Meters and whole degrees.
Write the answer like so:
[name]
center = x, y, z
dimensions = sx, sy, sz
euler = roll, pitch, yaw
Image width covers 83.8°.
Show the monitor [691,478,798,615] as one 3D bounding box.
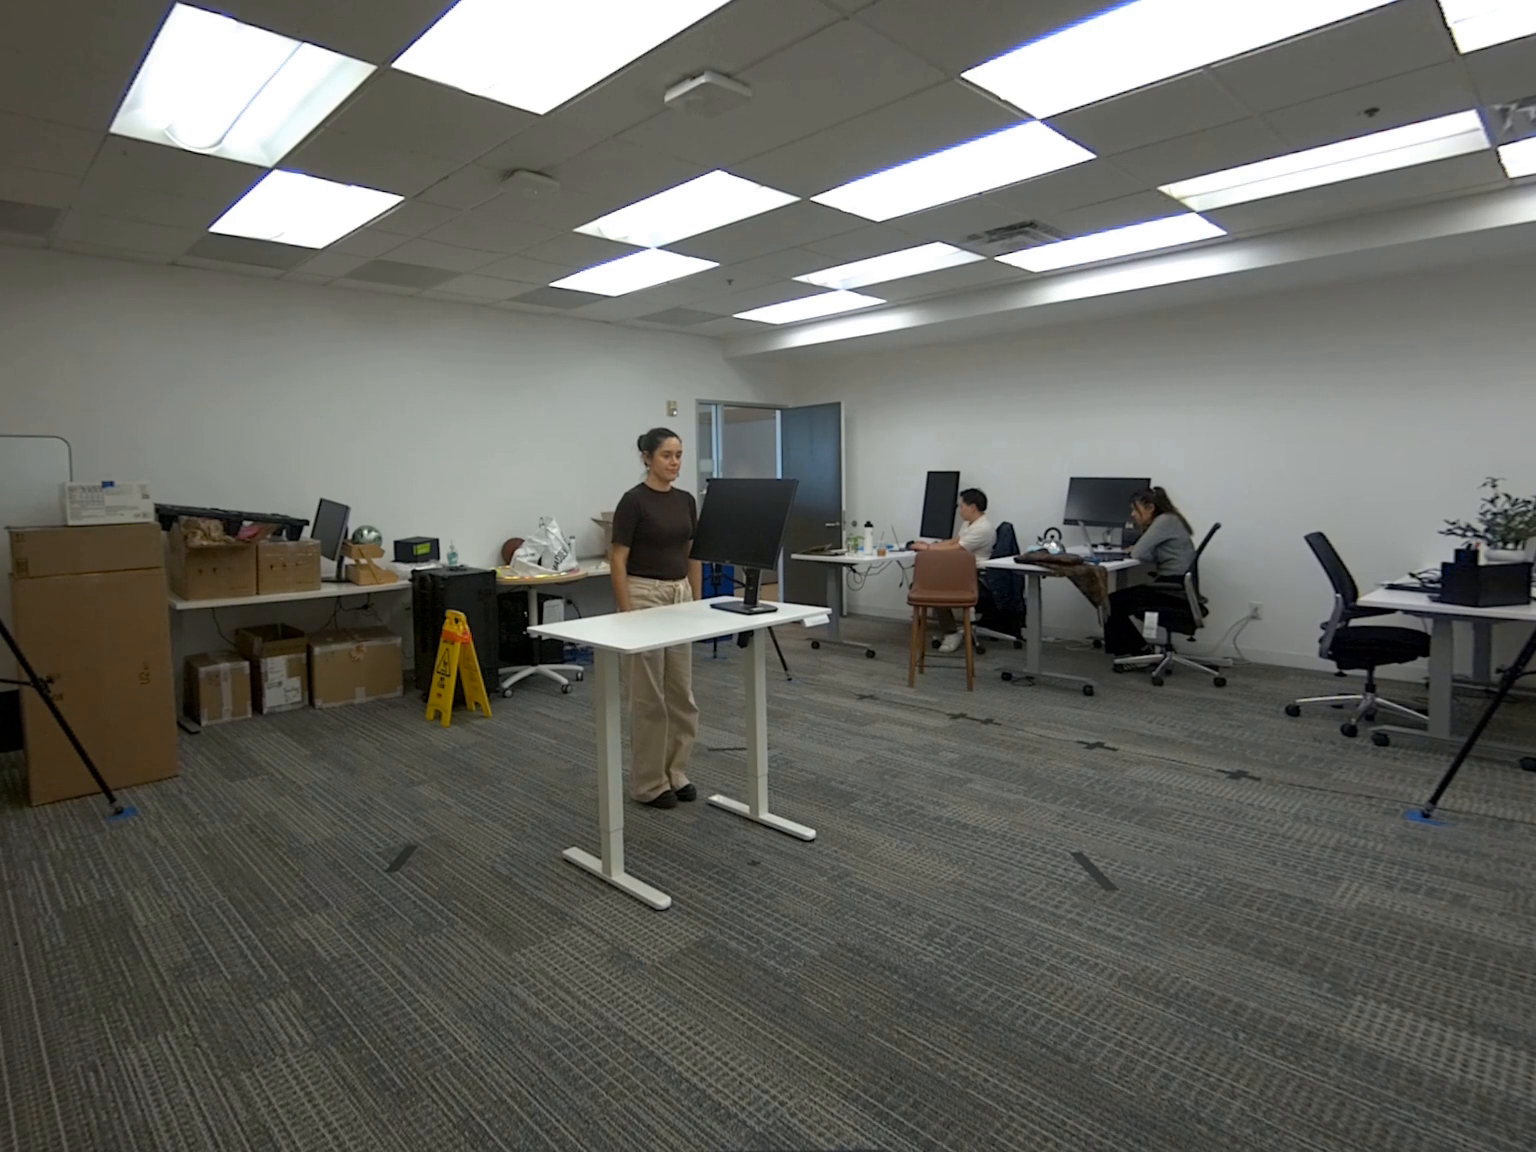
[monitor]
center = -0.084, -0.123, 3.361
dimensions = 0.182, 0.521, 0.556
euler = 0, 4, -41
